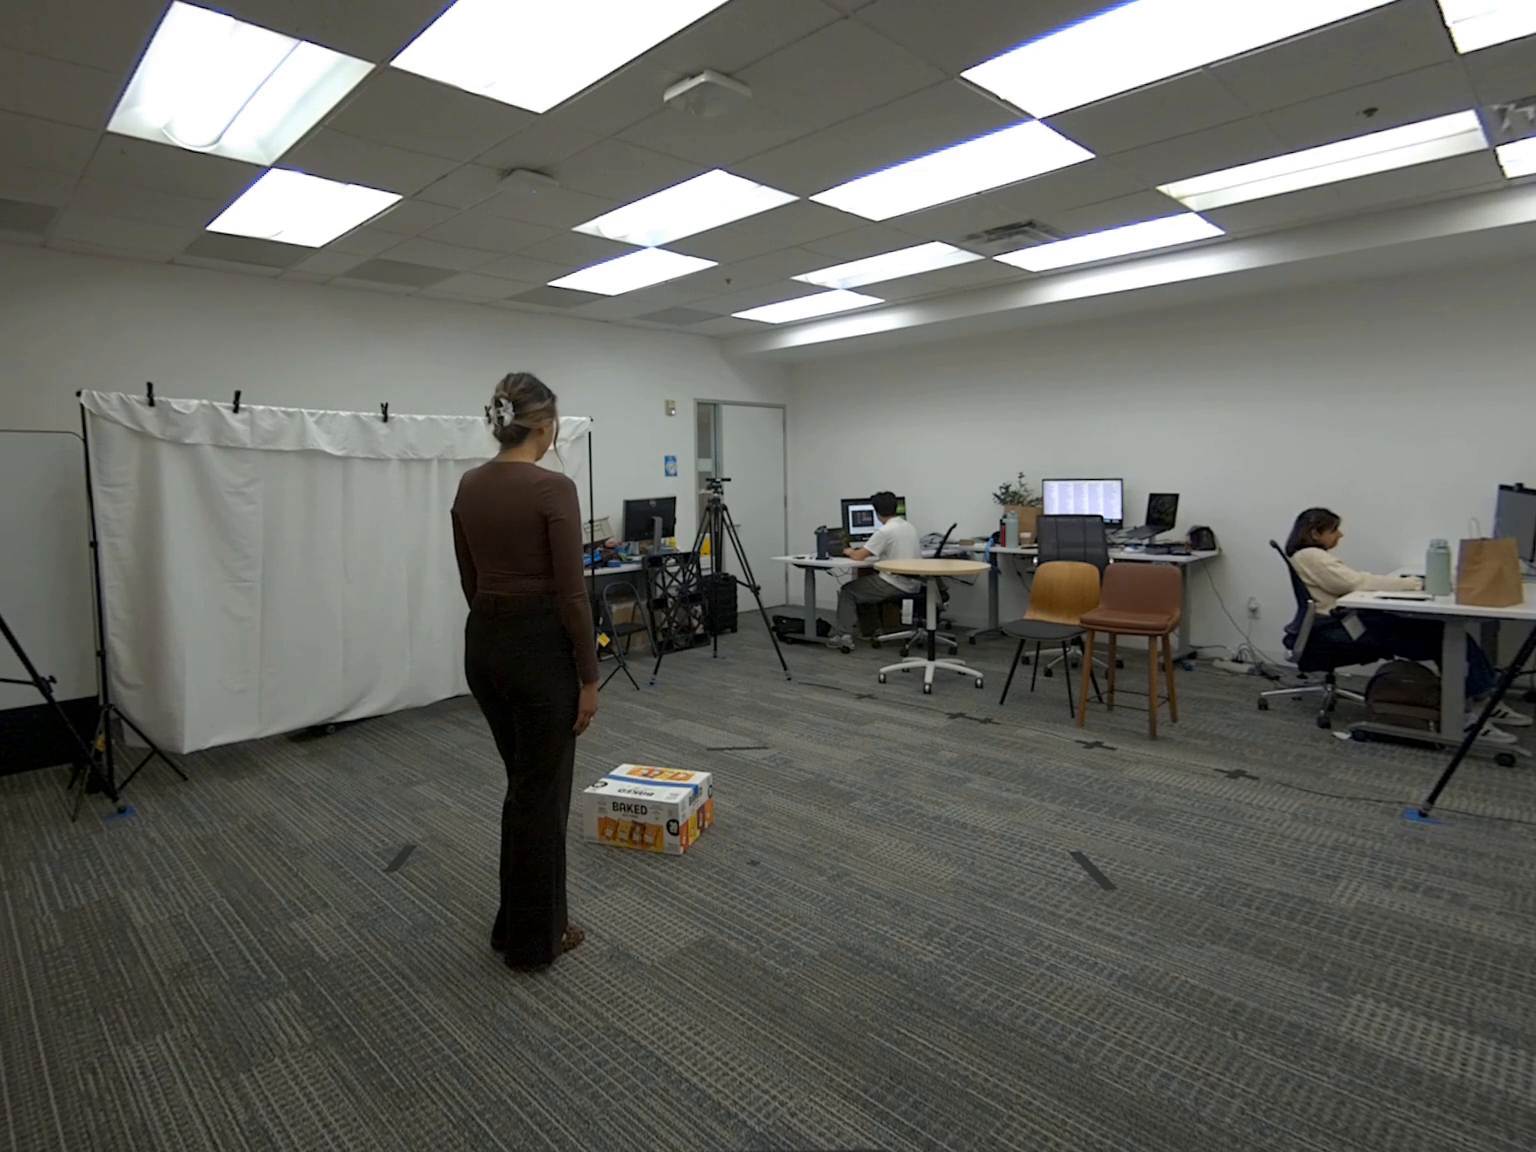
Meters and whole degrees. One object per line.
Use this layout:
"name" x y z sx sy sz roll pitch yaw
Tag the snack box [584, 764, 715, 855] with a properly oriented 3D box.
"snack box" -0.469 0.915 3.386 0.413 0.205 0.335 1 6 19
